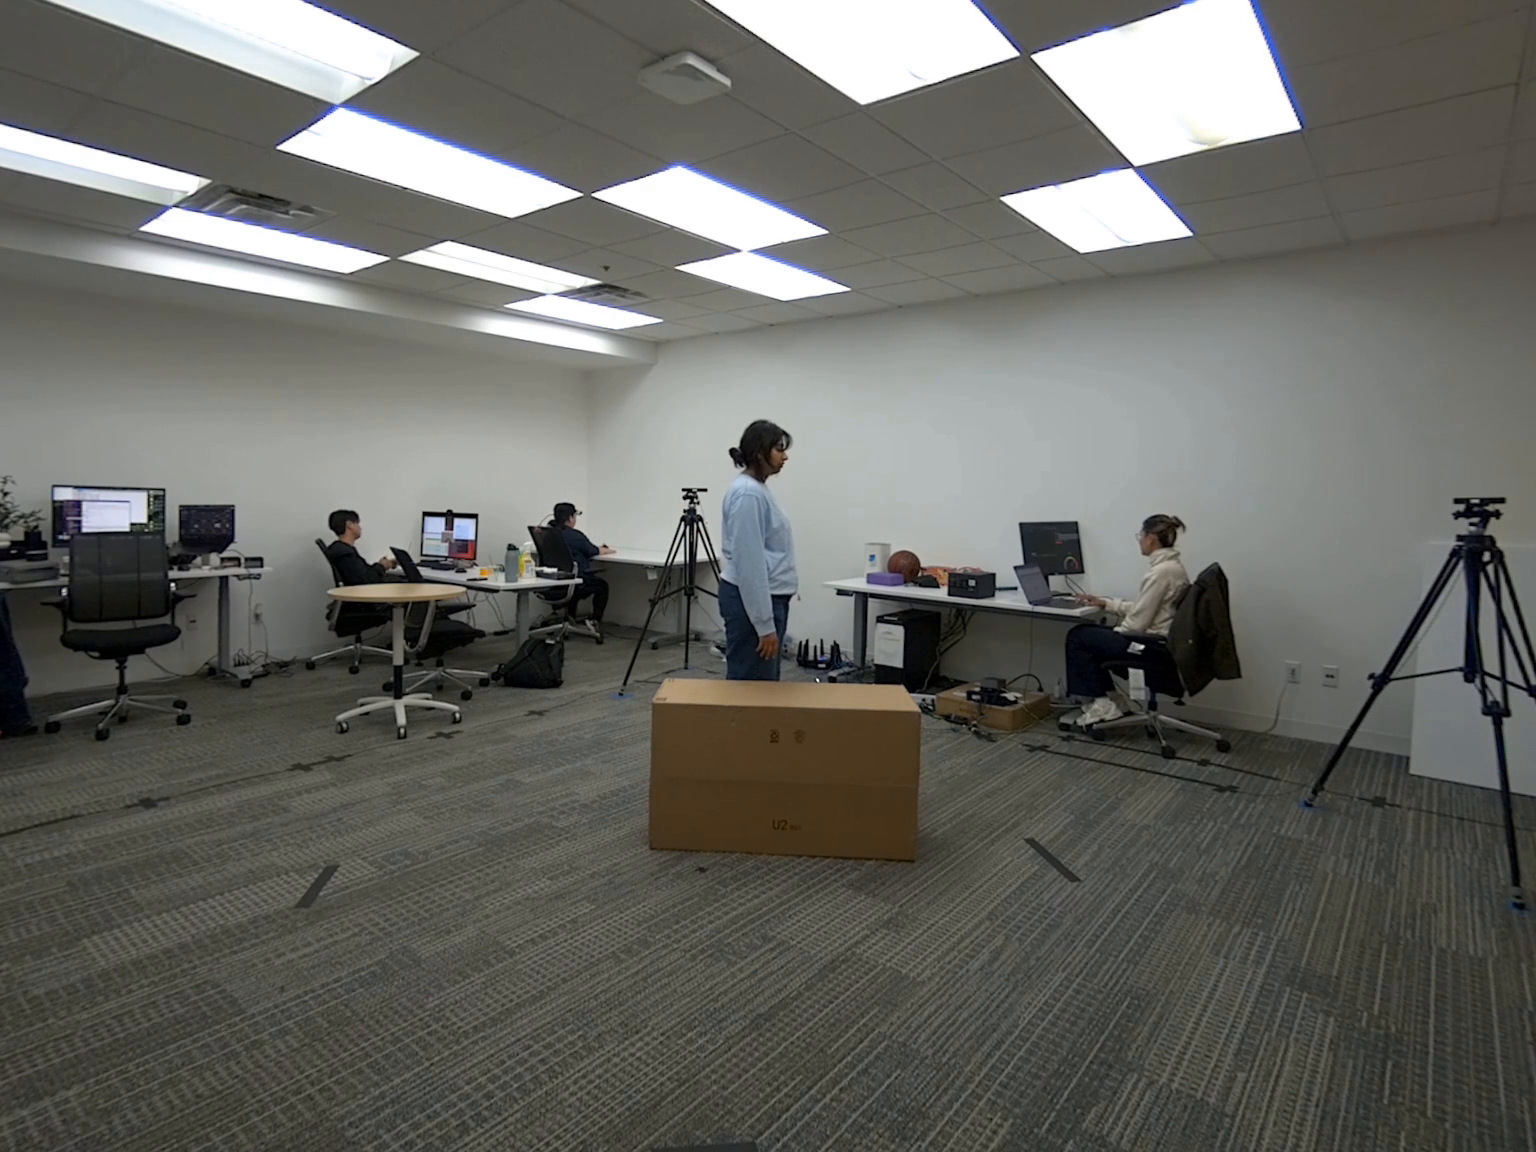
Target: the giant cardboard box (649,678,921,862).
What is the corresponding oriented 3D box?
[{"bbox_3d":[0.052,0.753,3.435,1.030,0.576,0.426,1,3,3],"label":"giant cardboard box"}]
